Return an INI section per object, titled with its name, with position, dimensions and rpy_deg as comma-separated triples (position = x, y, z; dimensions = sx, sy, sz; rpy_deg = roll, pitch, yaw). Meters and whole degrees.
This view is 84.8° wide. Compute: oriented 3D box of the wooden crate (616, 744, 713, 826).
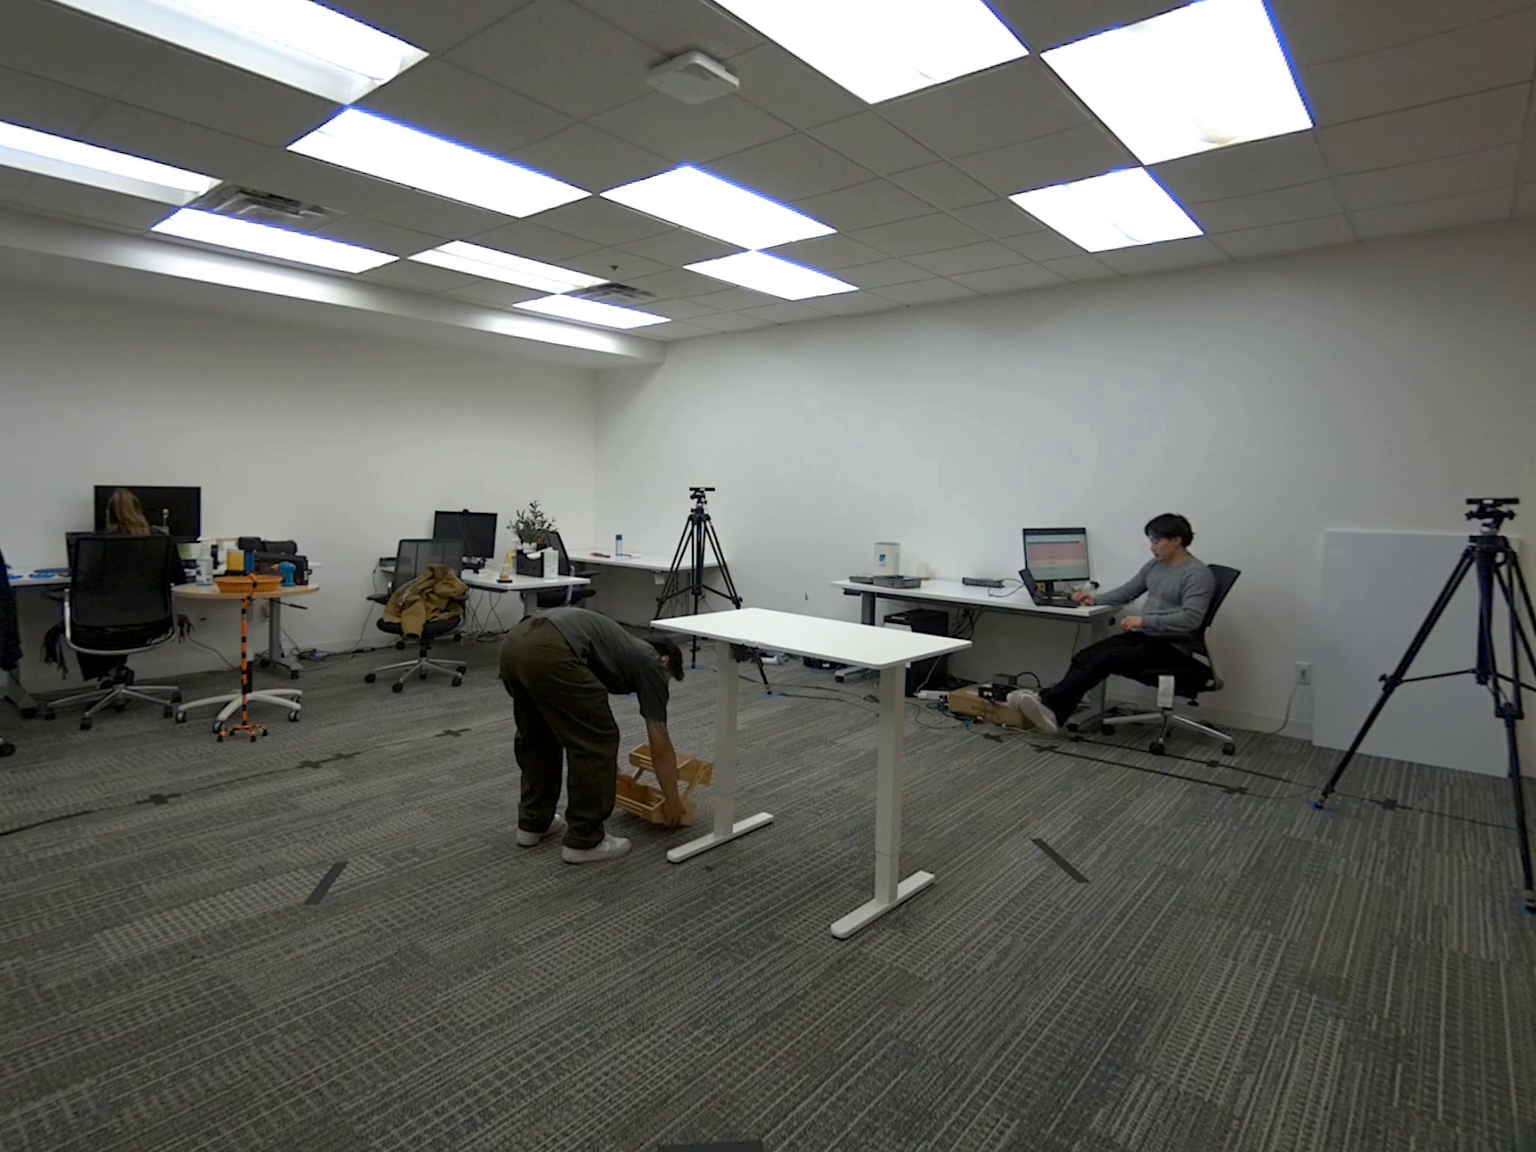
[wooden crate]
position = -0.475, 0.864, 3.567
dimensions = 0.335, 0.275, 0.290
rpy_deg = 6, -13, 41
